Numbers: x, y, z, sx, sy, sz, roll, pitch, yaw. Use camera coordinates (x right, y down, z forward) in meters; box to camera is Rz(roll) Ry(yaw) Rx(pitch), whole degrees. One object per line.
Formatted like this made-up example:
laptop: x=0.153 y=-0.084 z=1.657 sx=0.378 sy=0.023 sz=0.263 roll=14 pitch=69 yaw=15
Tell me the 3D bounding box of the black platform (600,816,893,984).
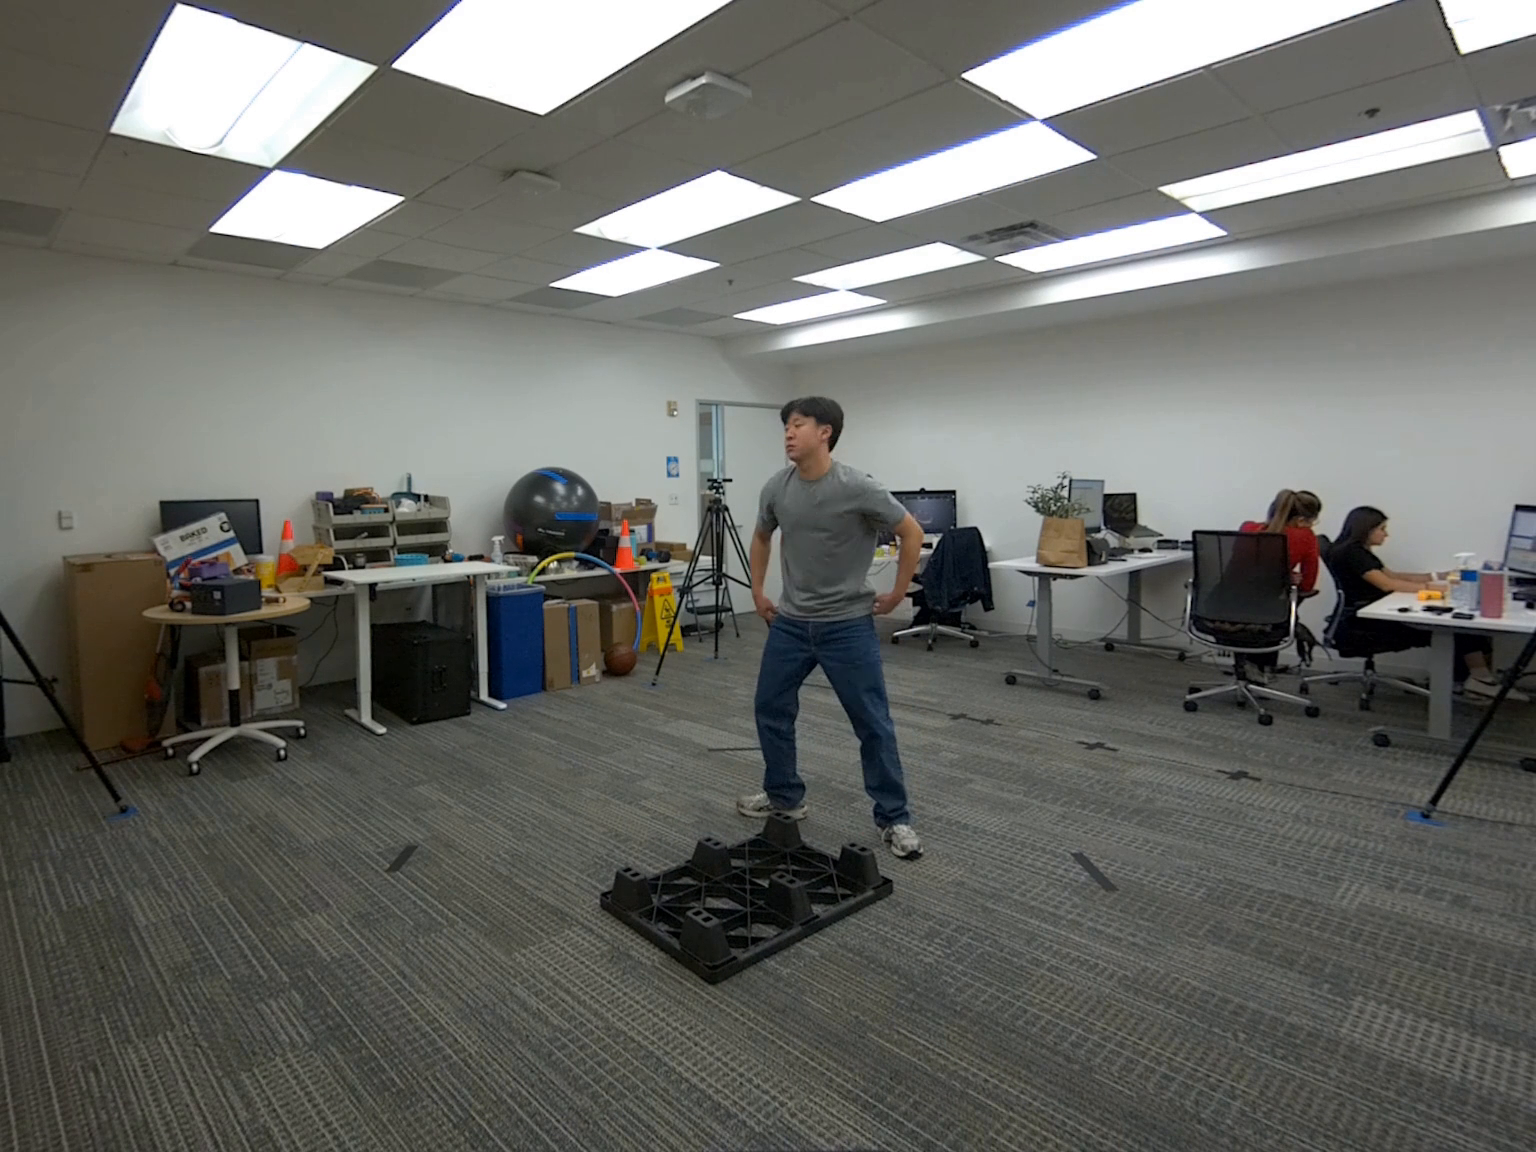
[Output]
black platform: x=-0.063 y=1.011 z=2.835 sx=0.785 sy=0.142 sz=0.624 roll=-7 pitch=9 yaw=-42
